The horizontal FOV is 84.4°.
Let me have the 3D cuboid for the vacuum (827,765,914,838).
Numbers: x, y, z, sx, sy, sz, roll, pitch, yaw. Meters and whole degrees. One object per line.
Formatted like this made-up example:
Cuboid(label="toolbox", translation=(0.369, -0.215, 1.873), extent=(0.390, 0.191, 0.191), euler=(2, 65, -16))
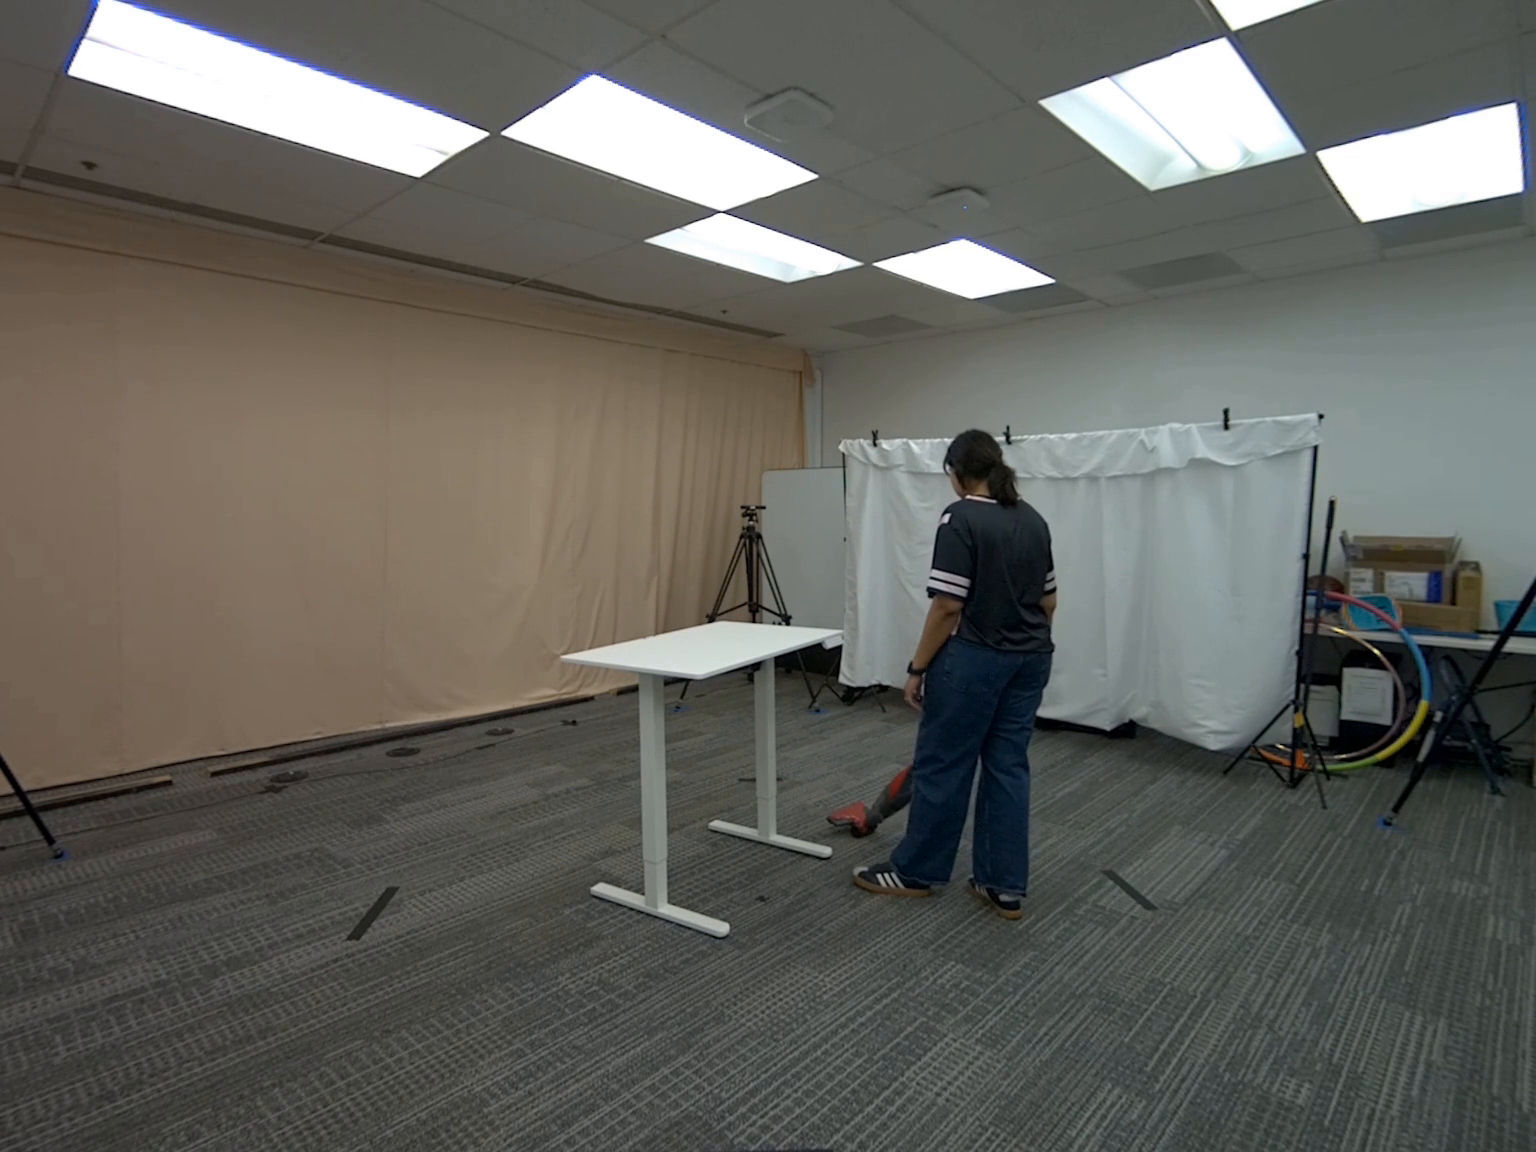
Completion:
Cuboid(label="vacuum", translation=(0.672, 0.737, 3.329), extent=(0.245, 0.147, 1.056), euler=(-9, -31, -51))
